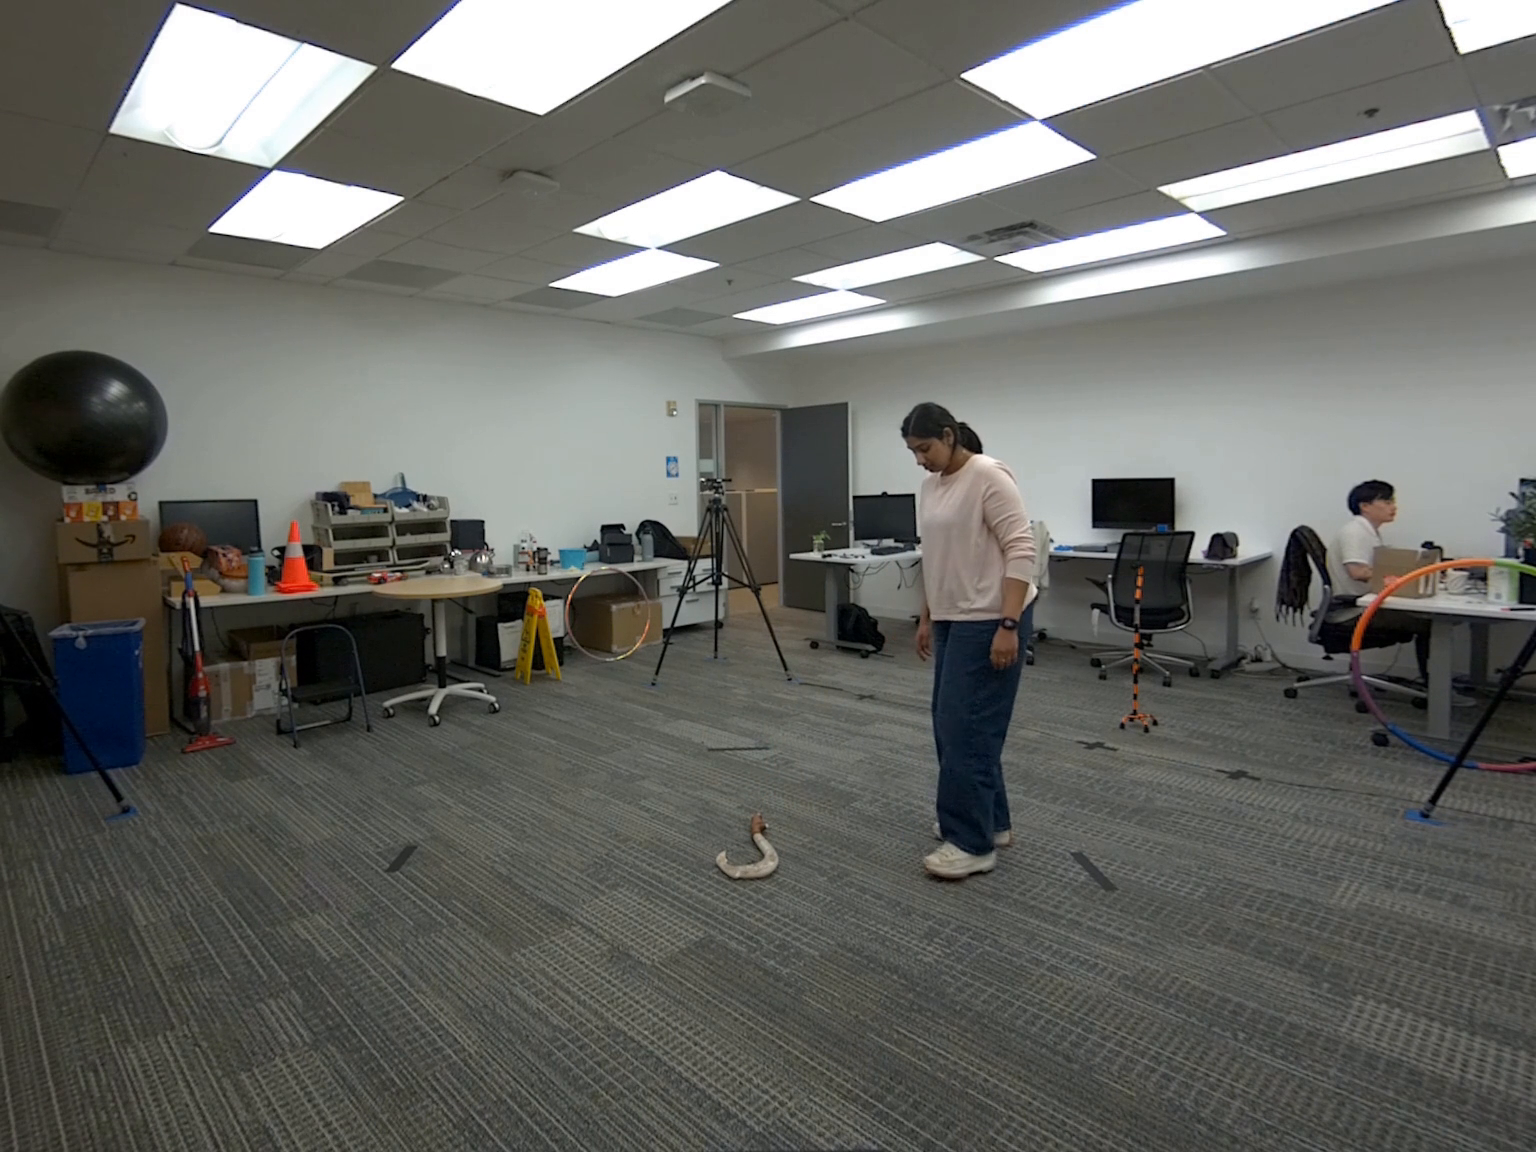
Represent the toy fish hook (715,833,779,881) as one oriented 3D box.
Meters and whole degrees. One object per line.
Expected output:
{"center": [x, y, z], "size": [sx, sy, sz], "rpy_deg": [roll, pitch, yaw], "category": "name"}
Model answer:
{"center": [-0.081, 1.008, 3.221], "size": [0.224, 0.048, 0.509], "rpy_deg": [0, 6, -3], "category": "toy fish hook"}
